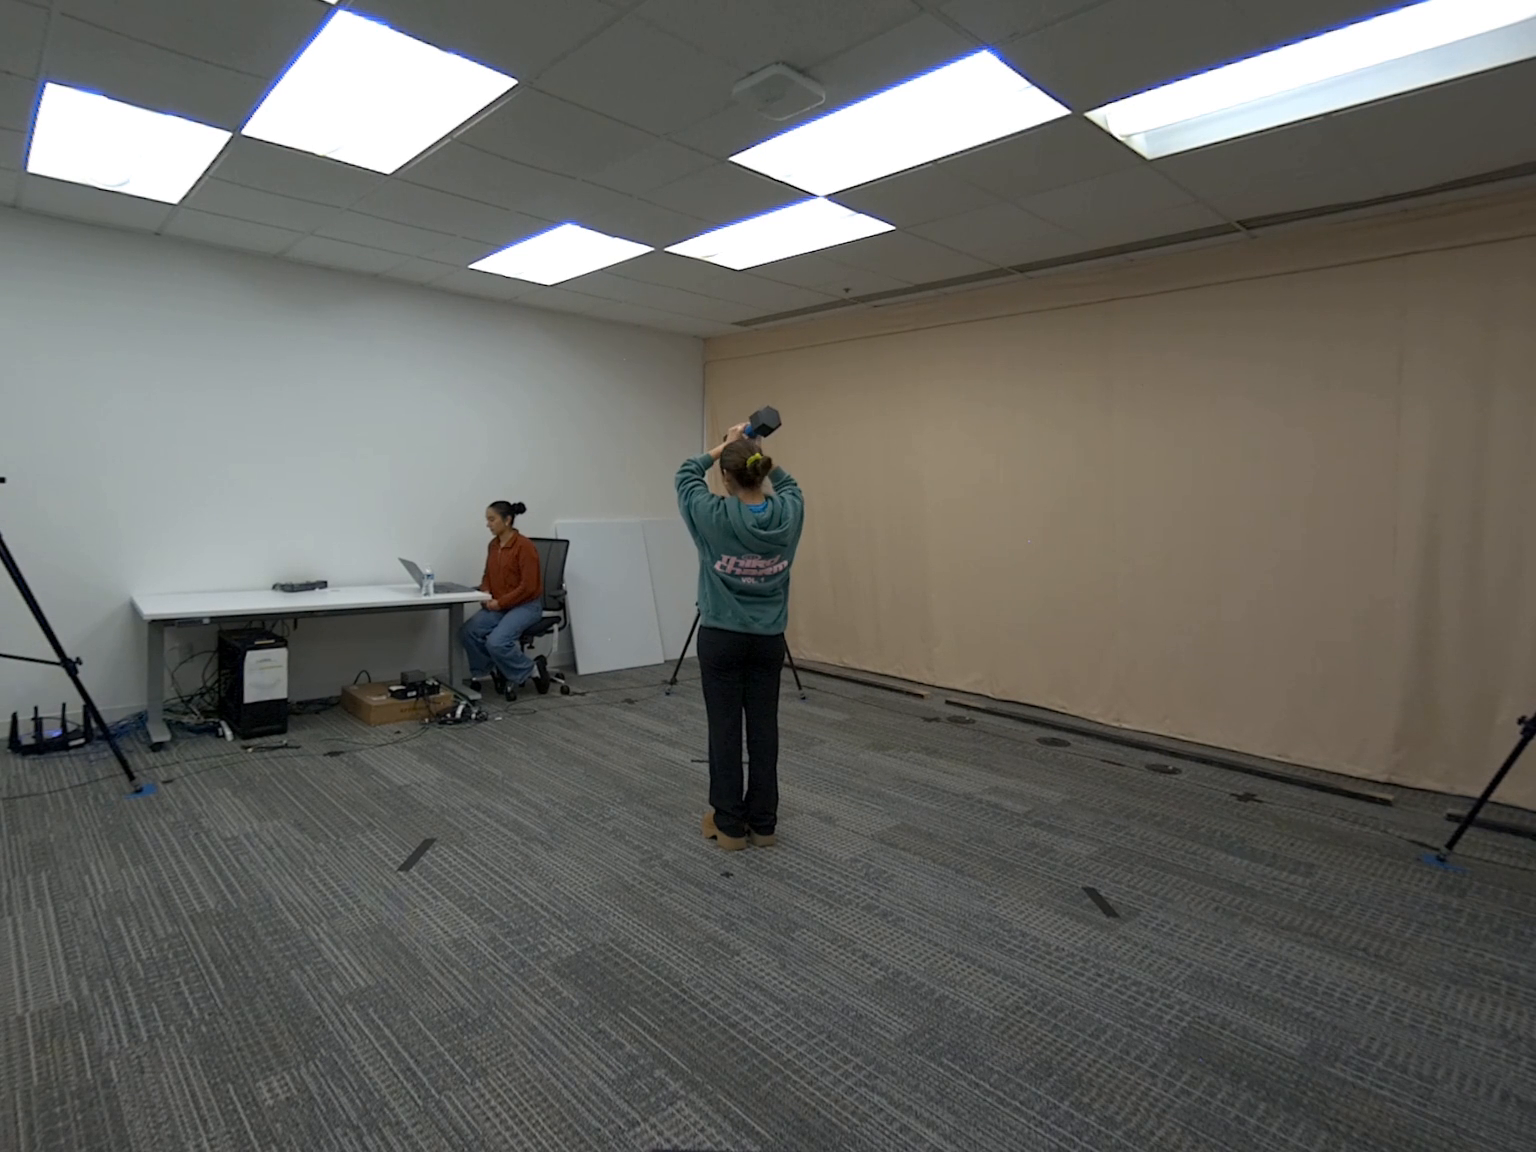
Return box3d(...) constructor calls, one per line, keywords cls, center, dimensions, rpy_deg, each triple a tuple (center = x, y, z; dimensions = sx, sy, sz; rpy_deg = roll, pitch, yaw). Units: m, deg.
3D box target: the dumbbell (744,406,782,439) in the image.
box3d(cls="dumbbell", center=(-0.076, -0.591, 3.457), dimensions=(0.106, 0.124, 0.296), rpy_deg=(-5, -13, -35))
